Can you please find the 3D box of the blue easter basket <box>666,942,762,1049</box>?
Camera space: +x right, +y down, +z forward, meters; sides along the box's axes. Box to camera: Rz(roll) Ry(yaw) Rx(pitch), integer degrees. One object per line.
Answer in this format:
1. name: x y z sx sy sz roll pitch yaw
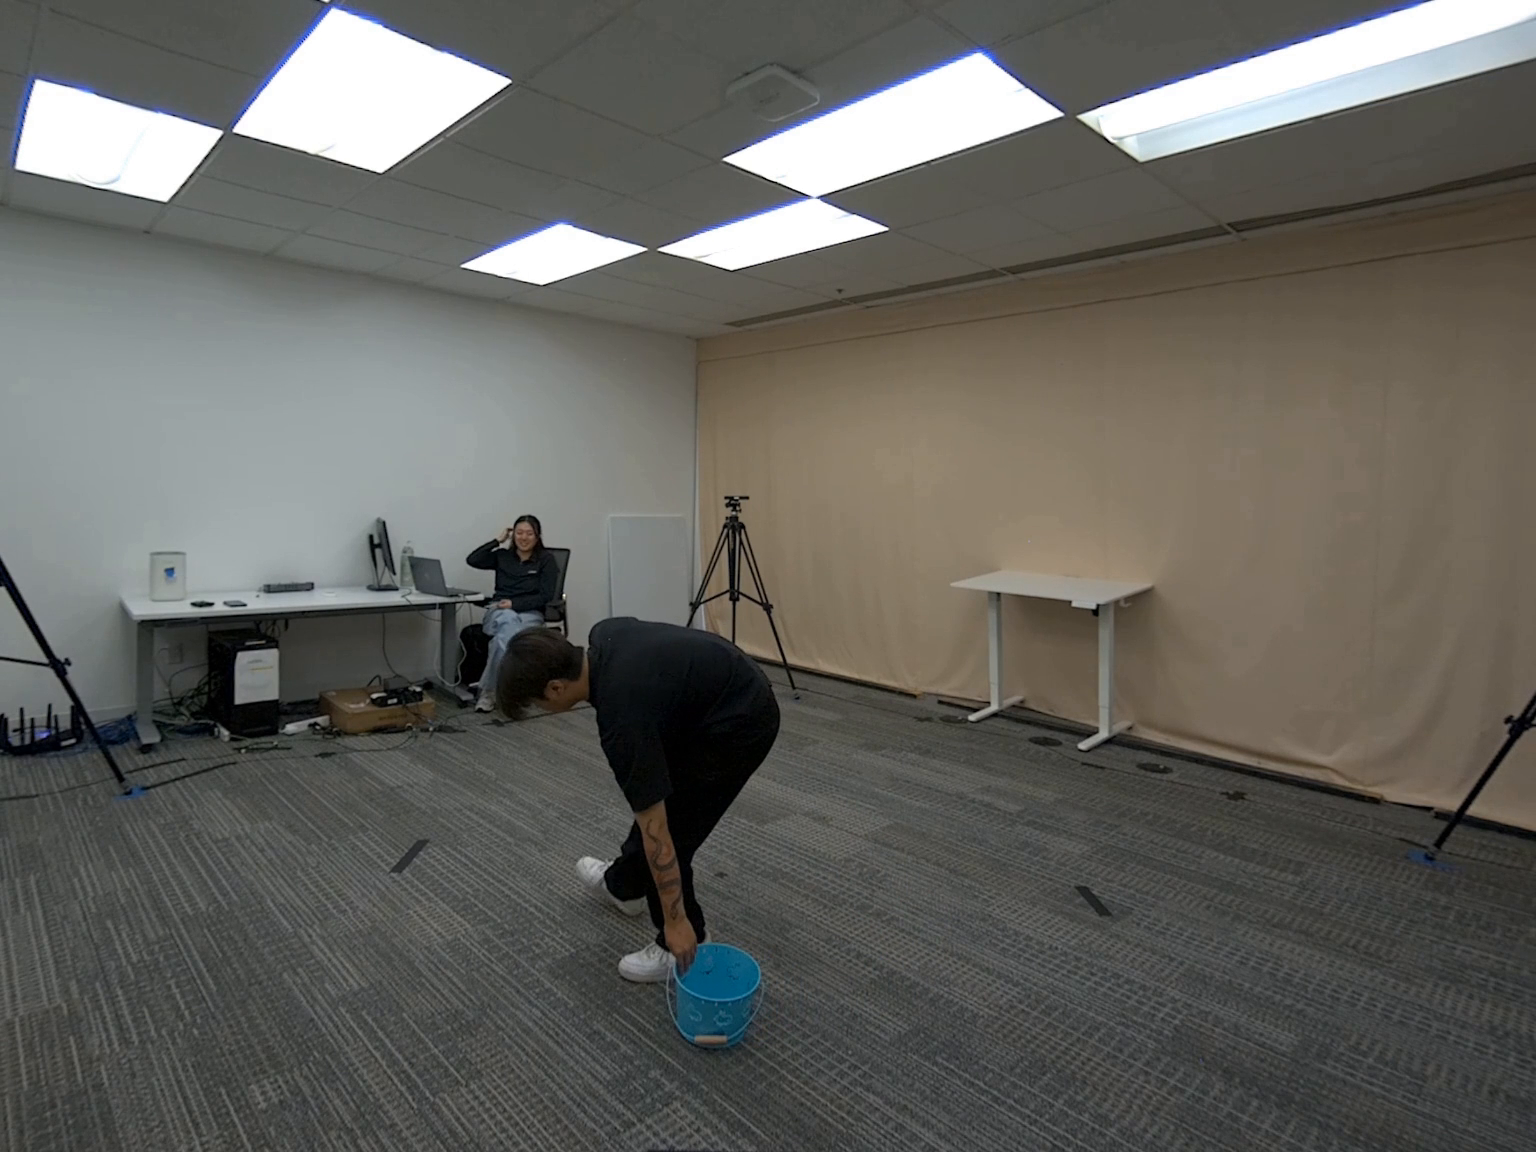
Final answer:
1. blue easter basket: -0.148 1.108 2.198 0.243 0.155 0.245 5 9 -2
